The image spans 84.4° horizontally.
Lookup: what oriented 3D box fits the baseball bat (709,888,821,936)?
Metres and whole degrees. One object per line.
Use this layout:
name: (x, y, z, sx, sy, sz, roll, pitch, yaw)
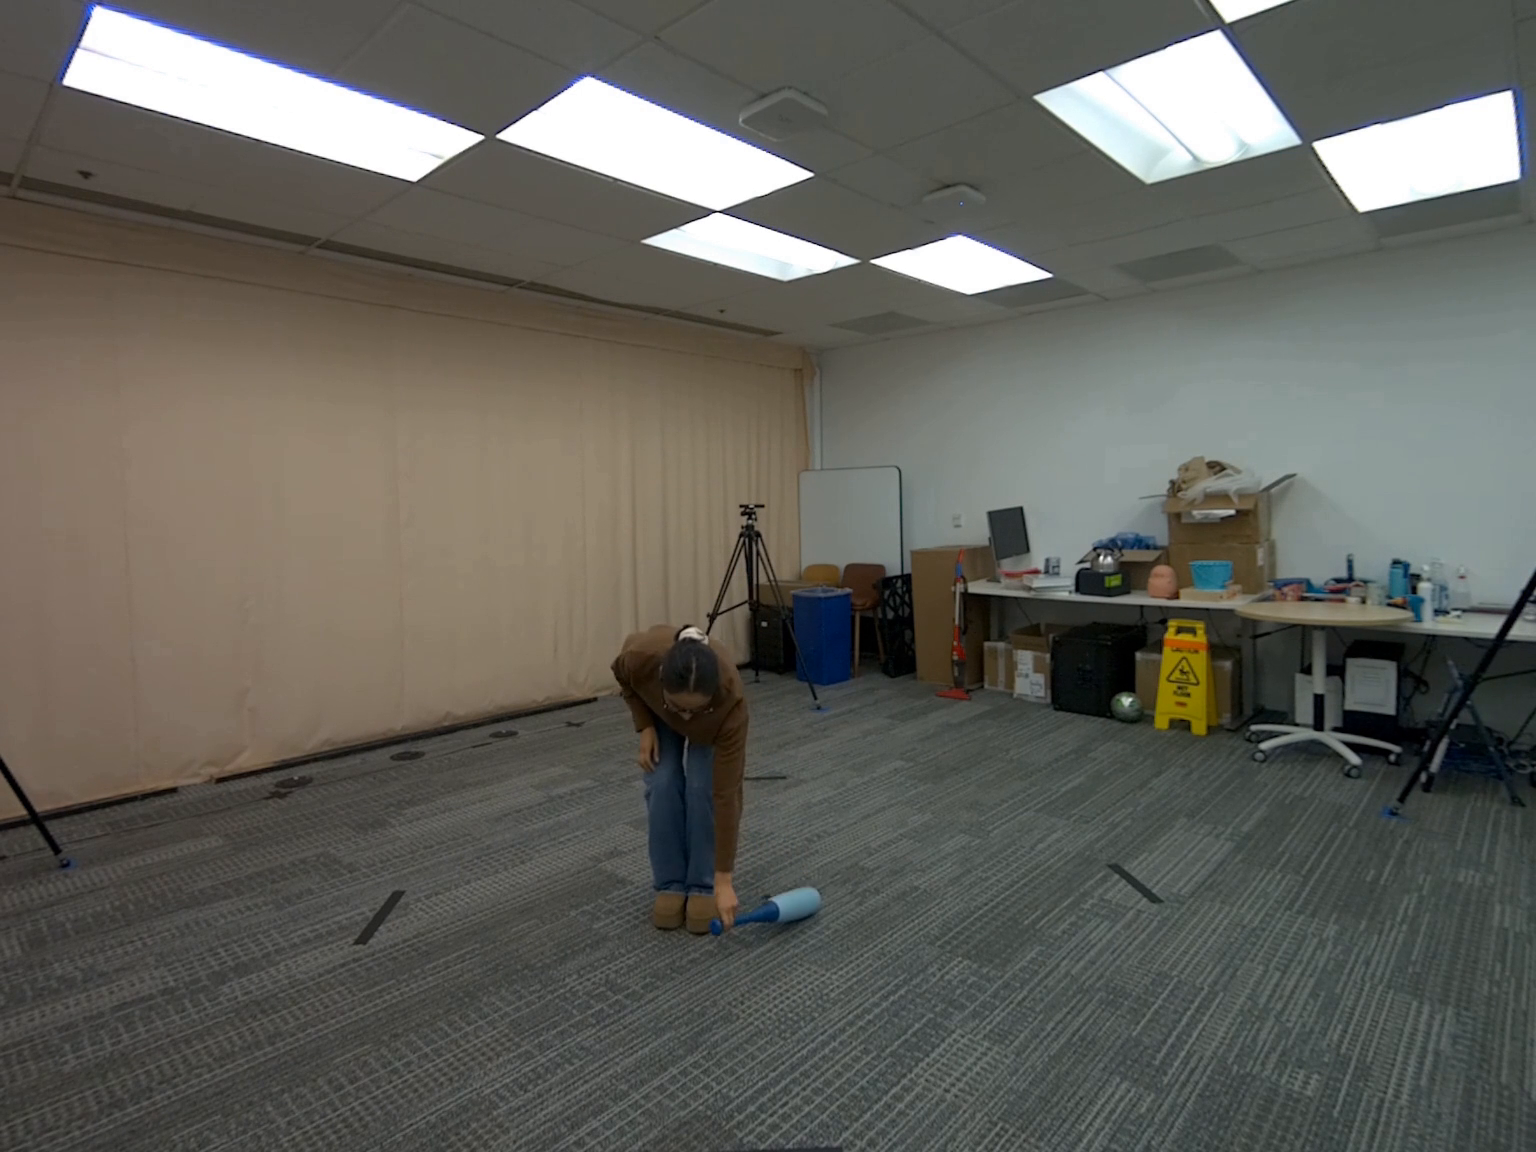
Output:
baseball bat: (0.010, 1.067, 2.682, 0.092, 0.089, 0.524, 2, -6, 36)
